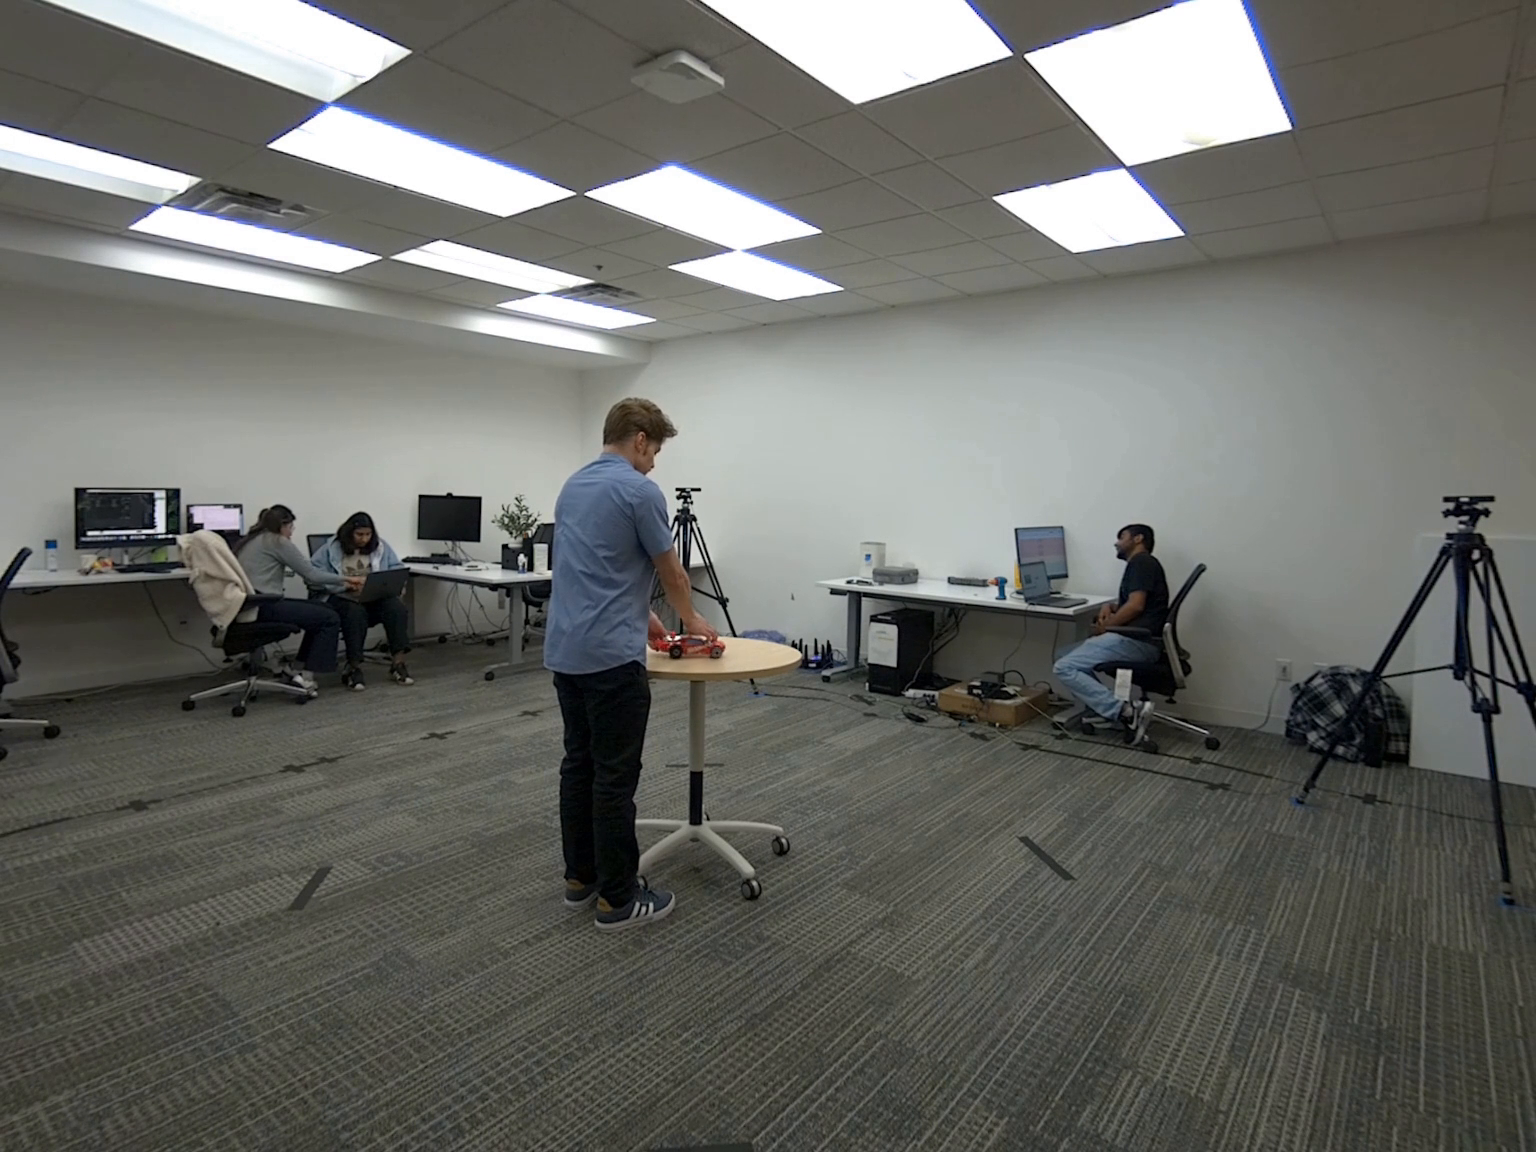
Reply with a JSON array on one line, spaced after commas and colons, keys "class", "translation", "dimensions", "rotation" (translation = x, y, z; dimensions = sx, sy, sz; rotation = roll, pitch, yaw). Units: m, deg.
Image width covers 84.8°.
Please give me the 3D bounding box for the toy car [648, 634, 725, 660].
[{"class": "toy car", "translation": [-0.294, 0.256, 3.069], "dimensions": [0.253, 0.083, 0.131], "rotation": [11, 3, -6]}]
